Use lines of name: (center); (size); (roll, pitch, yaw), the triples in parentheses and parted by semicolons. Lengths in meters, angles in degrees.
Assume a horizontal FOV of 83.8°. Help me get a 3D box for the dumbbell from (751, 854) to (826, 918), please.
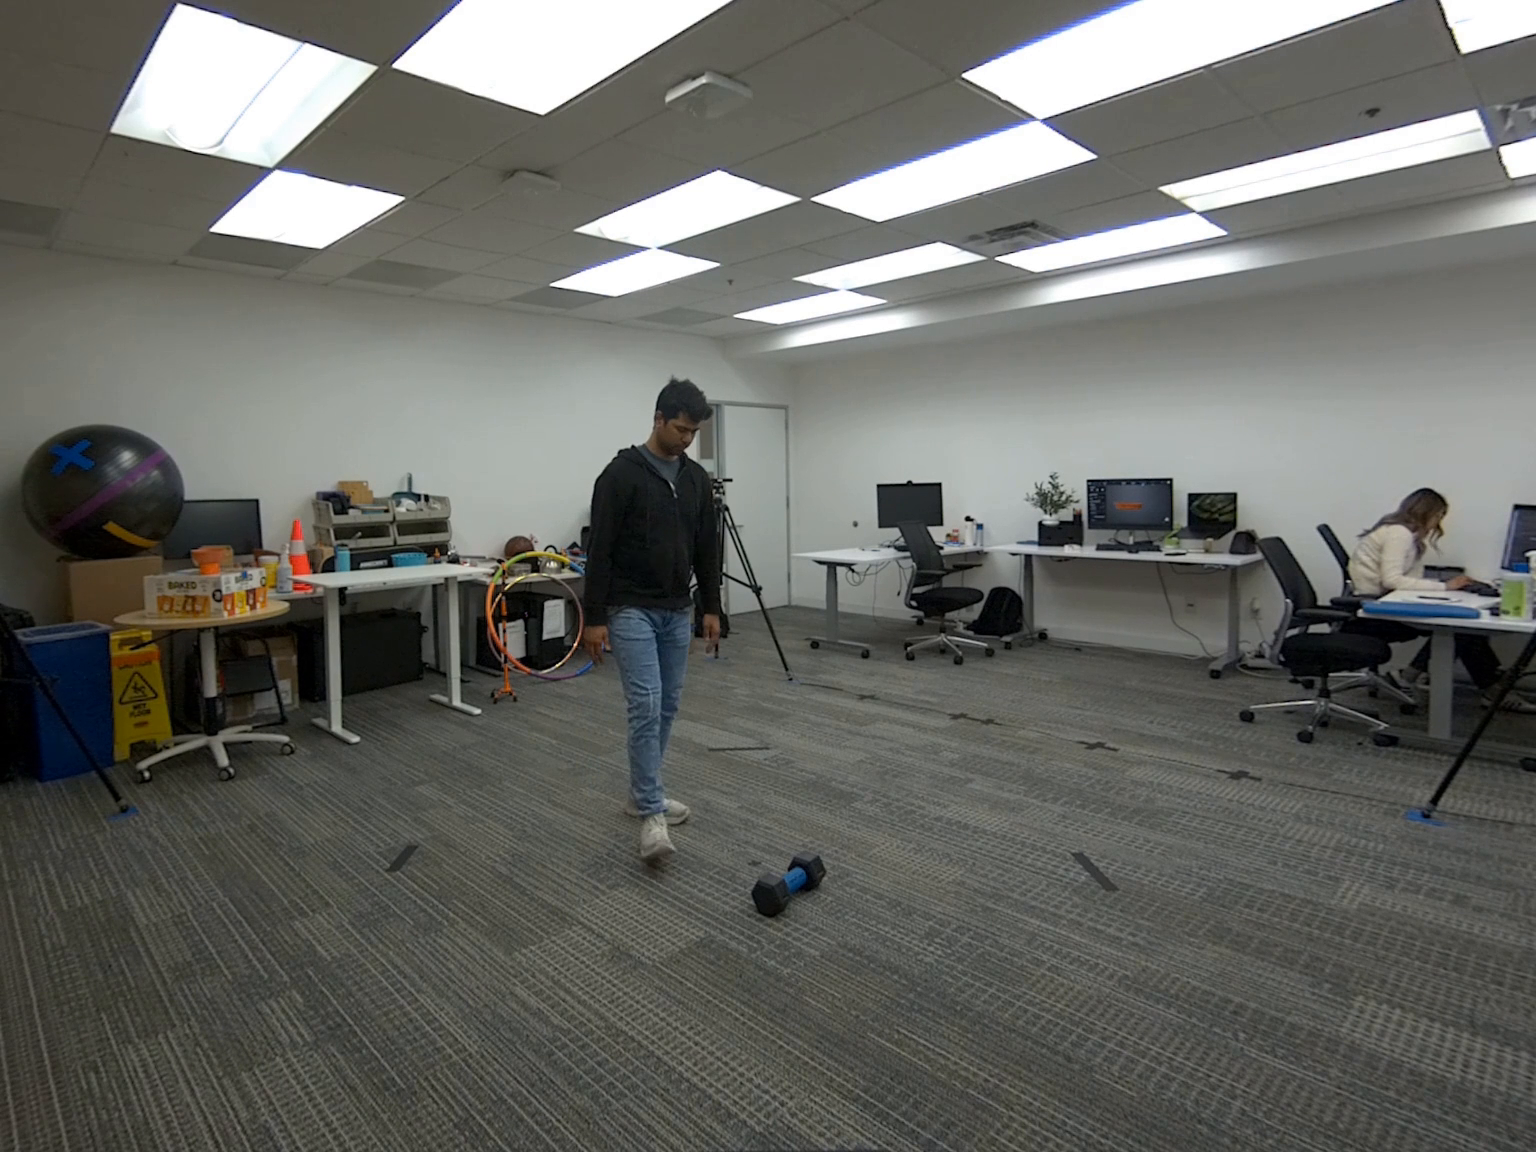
dumbbell: (0.078, 1.017, 2.840); (0.109, 0.125, 0.286); (-35, -15, 34)
